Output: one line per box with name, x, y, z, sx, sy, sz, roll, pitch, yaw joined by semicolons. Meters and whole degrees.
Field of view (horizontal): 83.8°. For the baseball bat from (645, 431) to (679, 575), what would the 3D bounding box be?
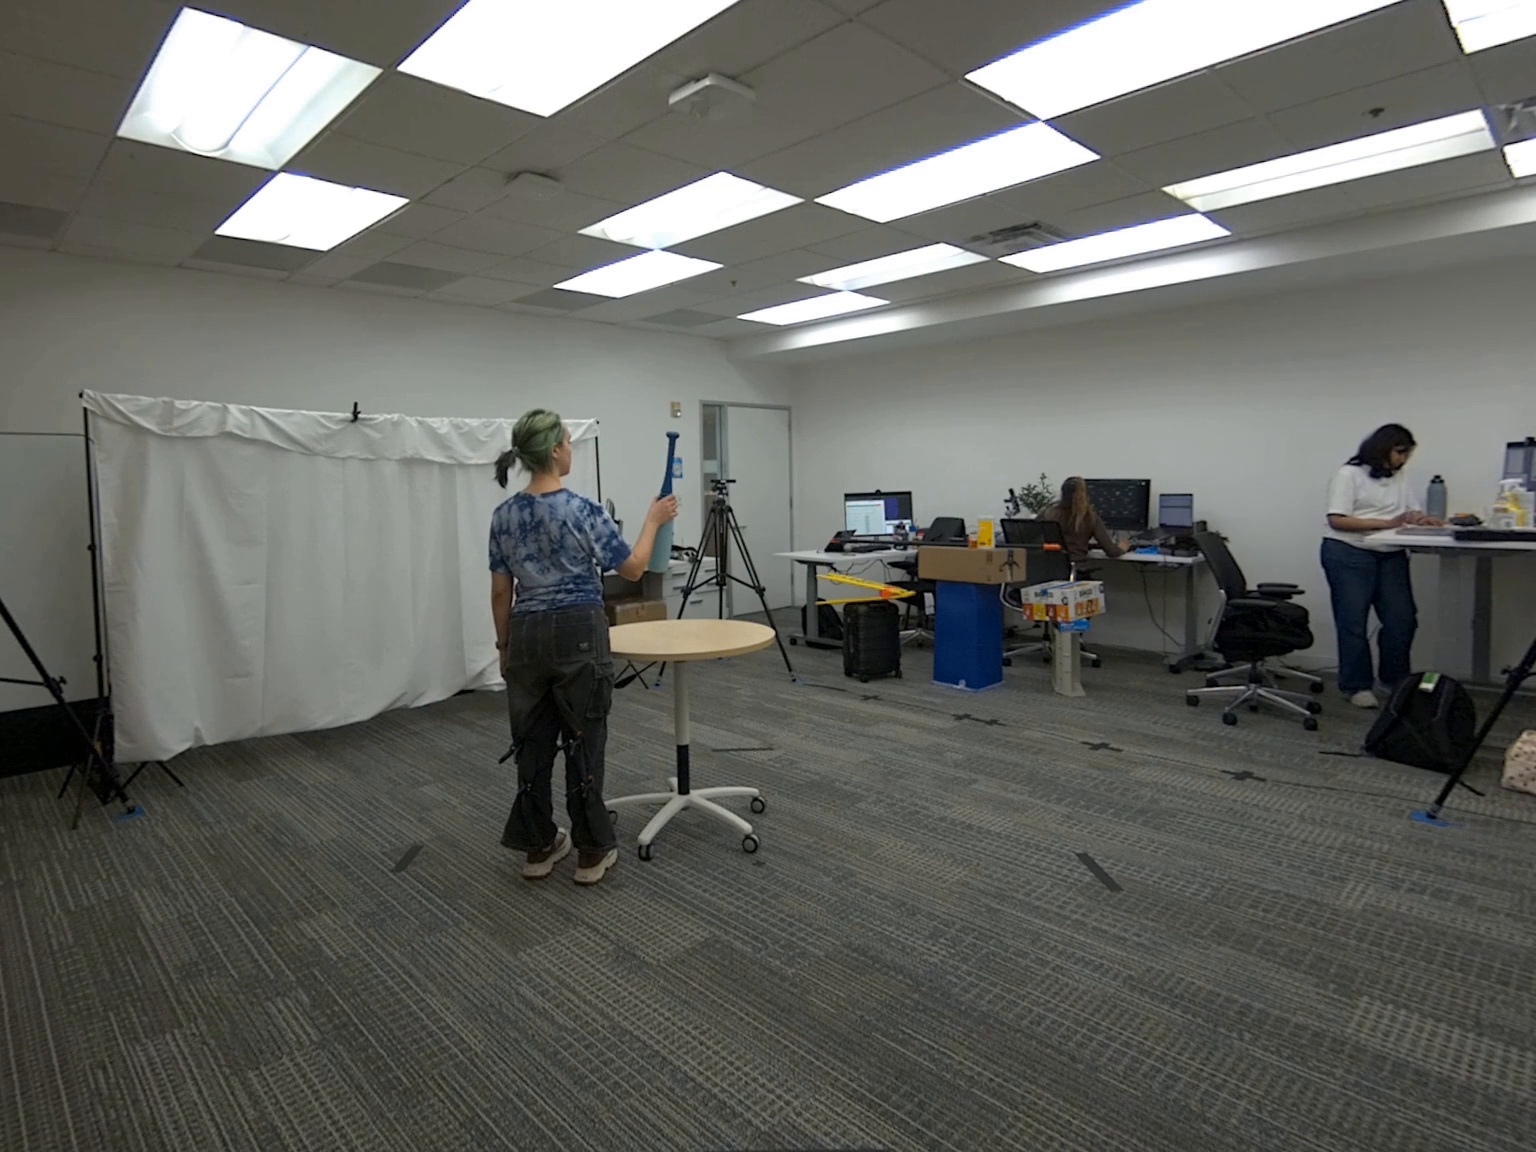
baseball bat;-0.398;-0.281;3.240;0.089;0.537;0.090;8;14;-4
